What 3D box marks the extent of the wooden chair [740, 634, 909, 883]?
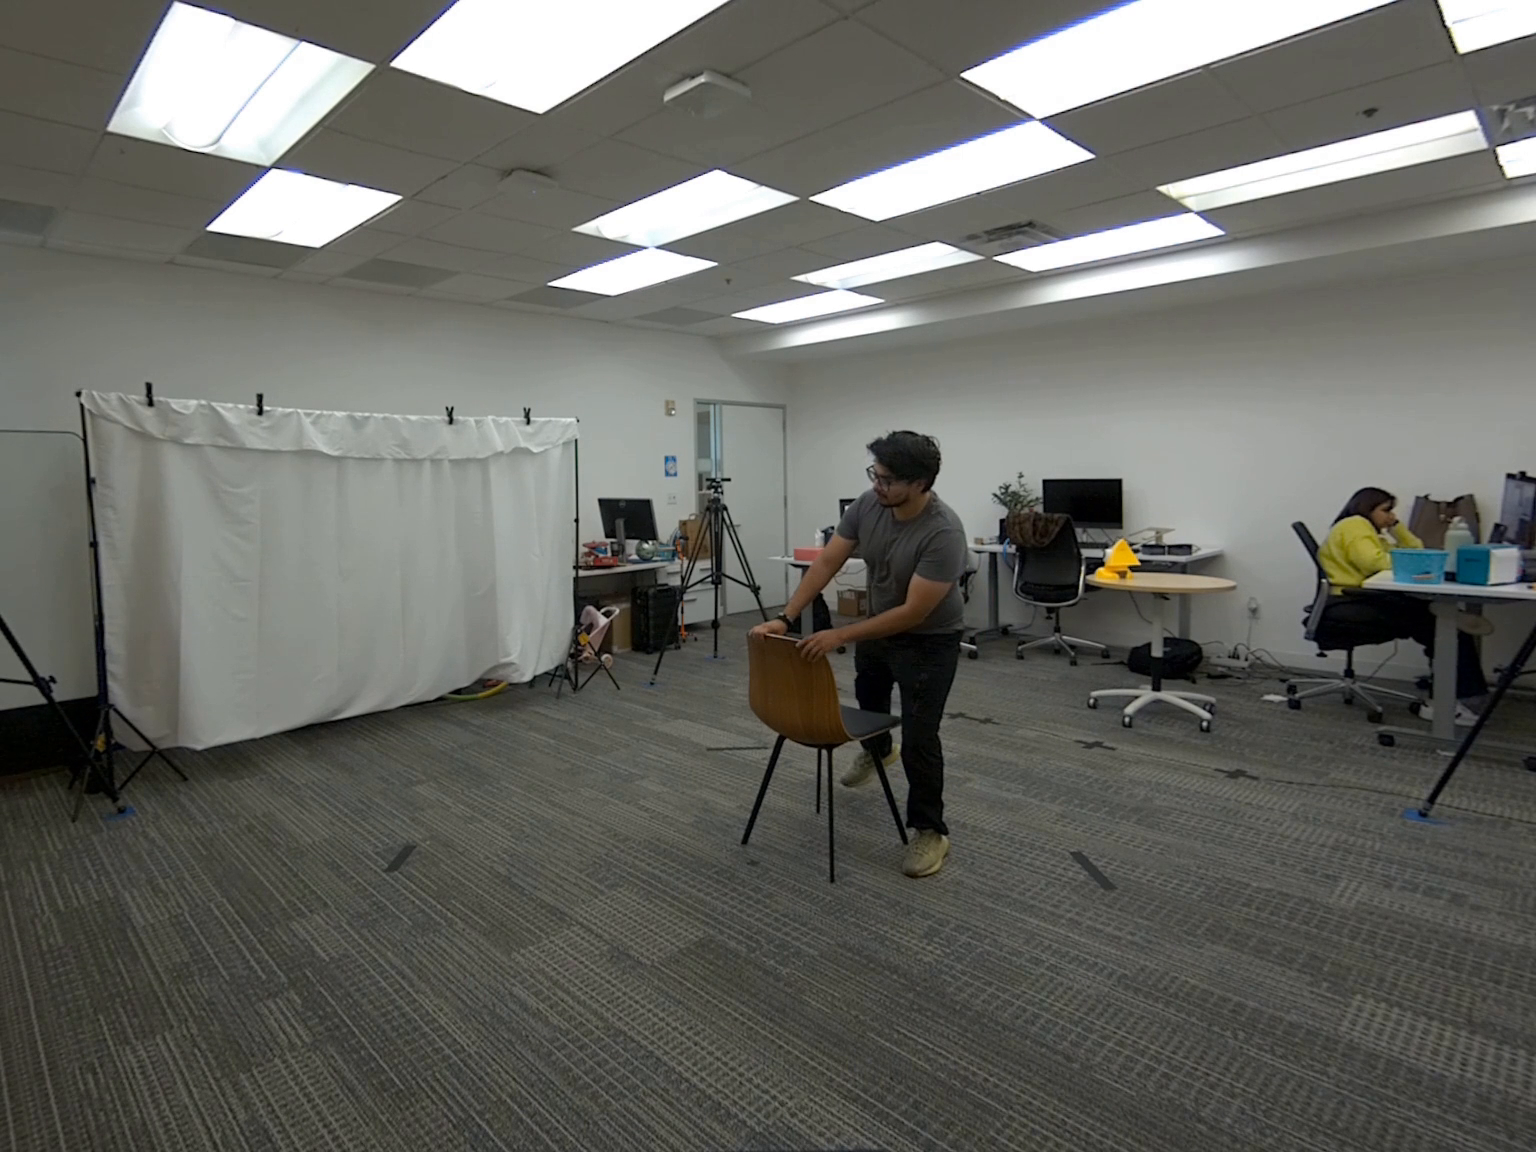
[{"bbox_3d":[0.213,0.595,3.222,0.493,0.871,0.511,3,10,45],"label":"wooden chair"}]
